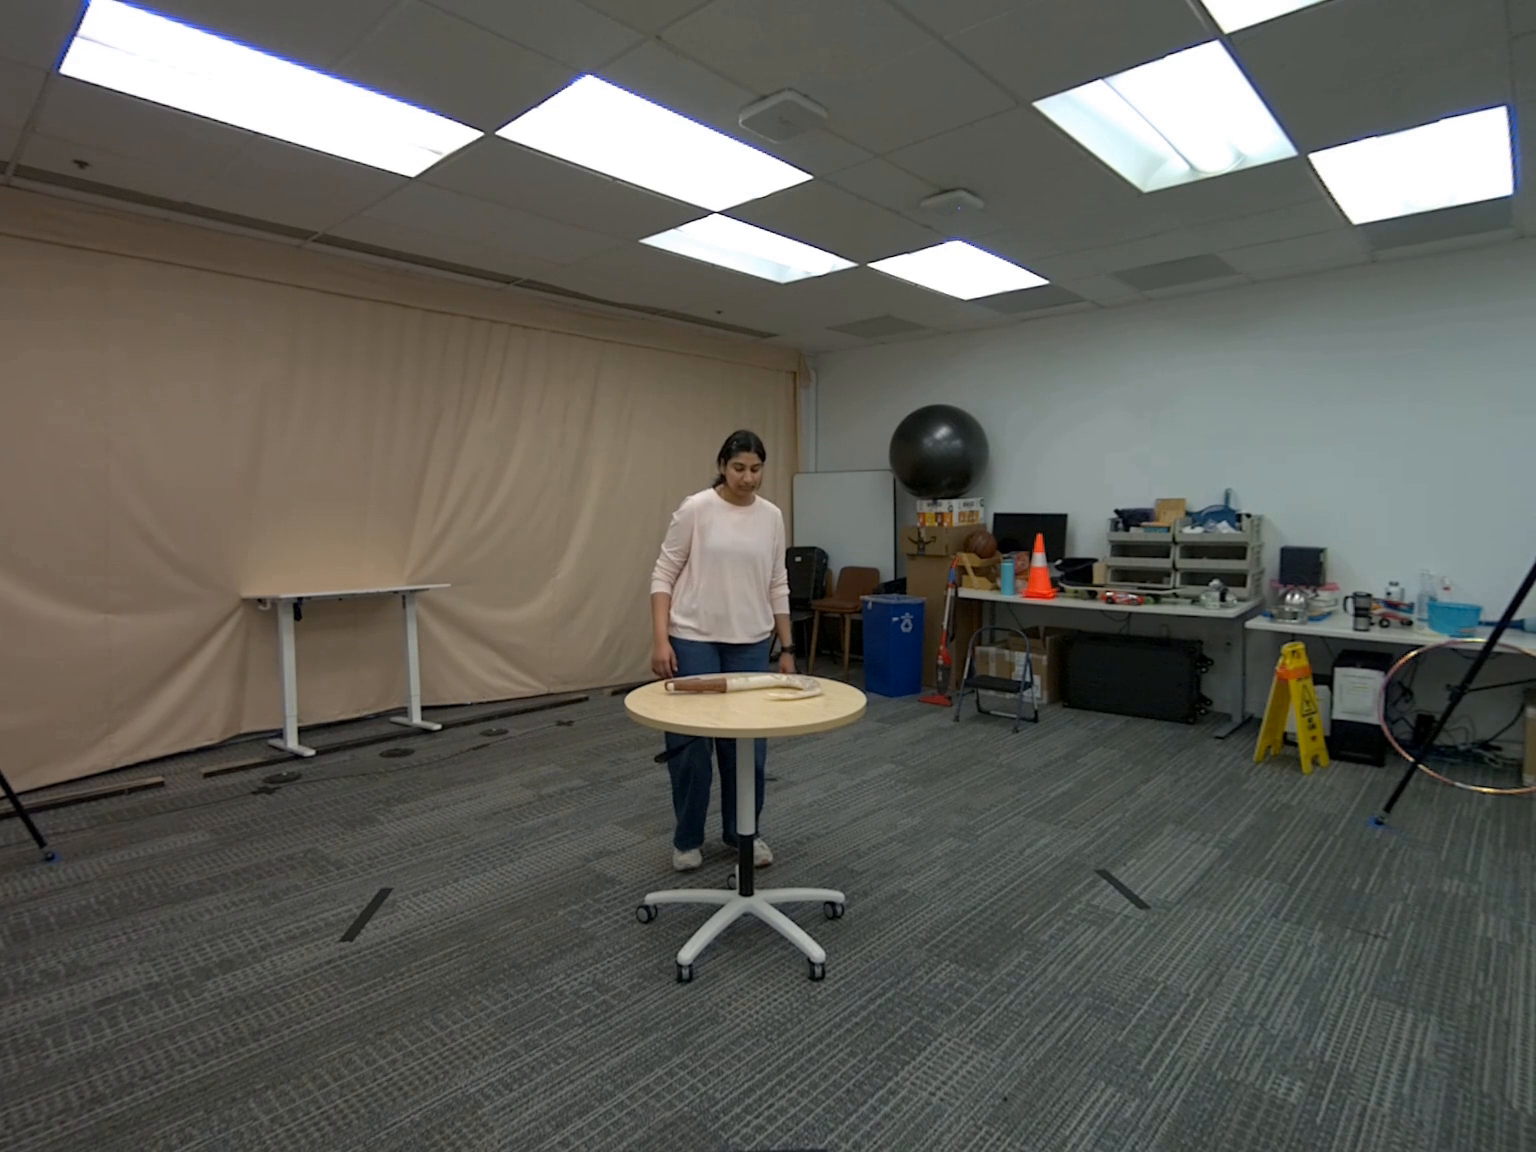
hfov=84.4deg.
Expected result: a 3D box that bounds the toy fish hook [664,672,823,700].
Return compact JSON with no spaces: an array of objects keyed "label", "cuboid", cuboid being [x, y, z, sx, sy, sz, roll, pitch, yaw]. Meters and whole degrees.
[{"label":"toy fish hook","cuboid":[-0.086,0.361,2.716,0.503,0.048,0.227,-1,5,-7]}]
